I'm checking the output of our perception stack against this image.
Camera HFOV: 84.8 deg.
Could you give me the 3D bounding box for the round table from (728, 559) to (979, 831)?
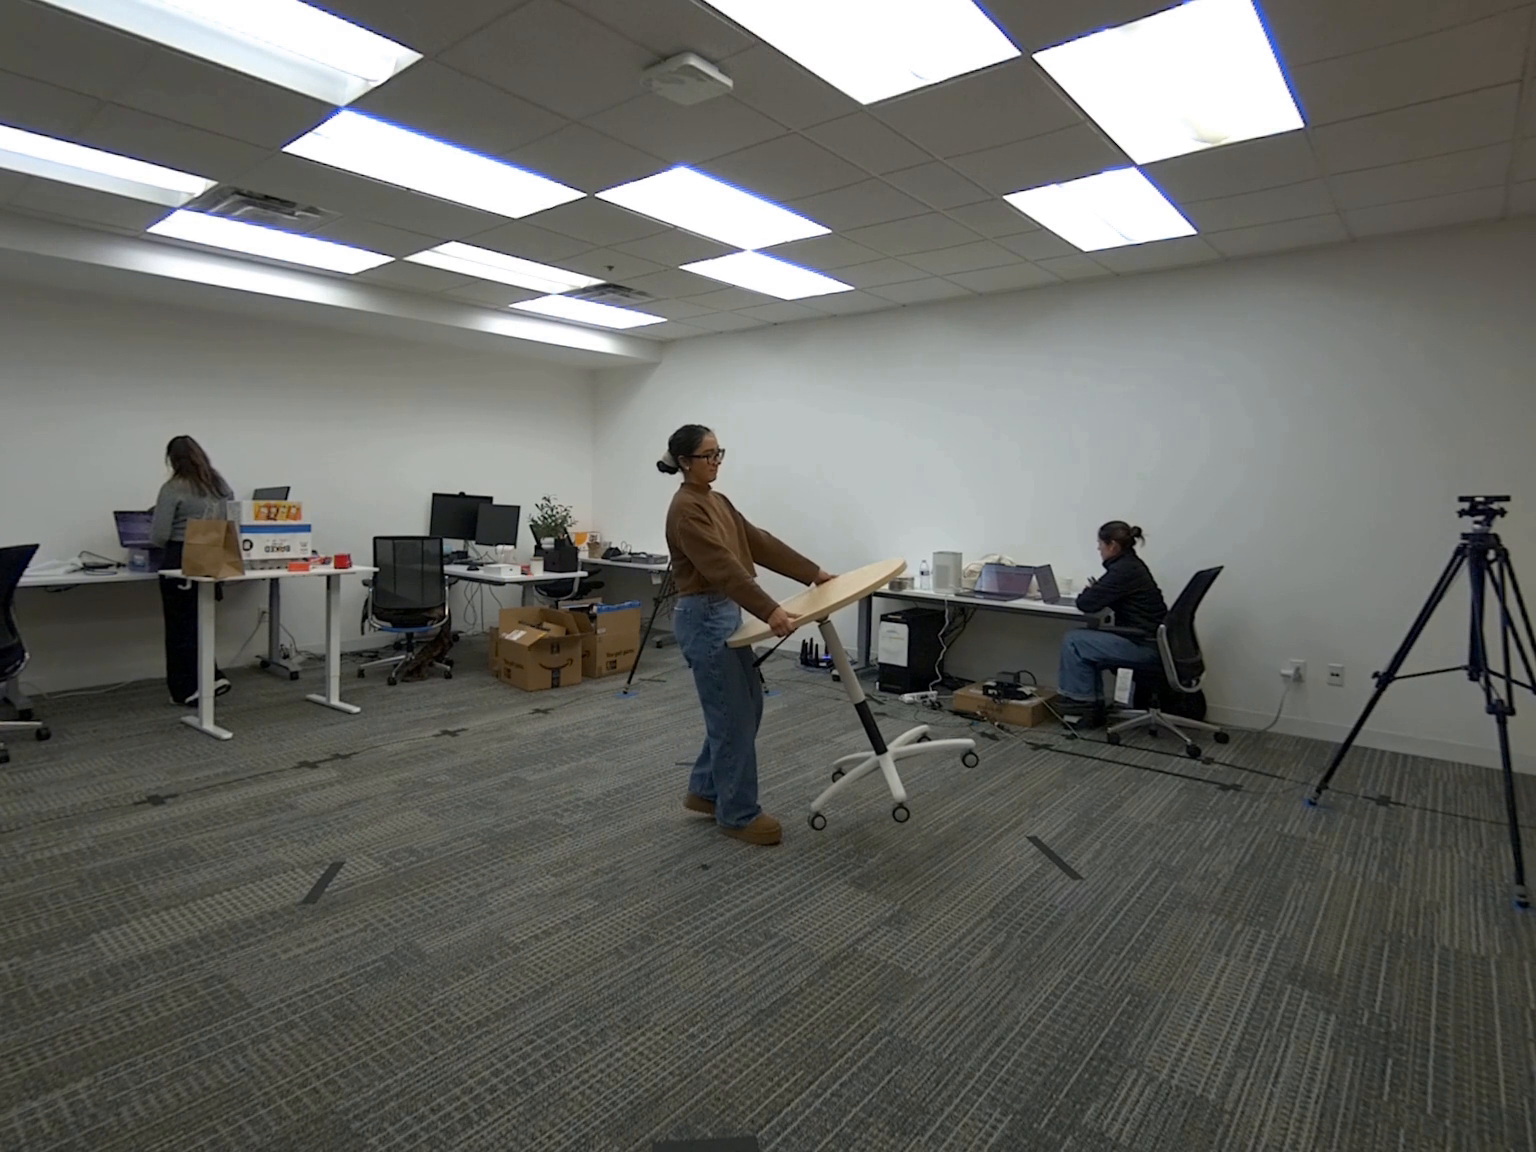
[{"bbox_3d":[0.342,0.449,3.333,0.785,0.785,0.788,-24,3,-1],"label":"round table"}]
